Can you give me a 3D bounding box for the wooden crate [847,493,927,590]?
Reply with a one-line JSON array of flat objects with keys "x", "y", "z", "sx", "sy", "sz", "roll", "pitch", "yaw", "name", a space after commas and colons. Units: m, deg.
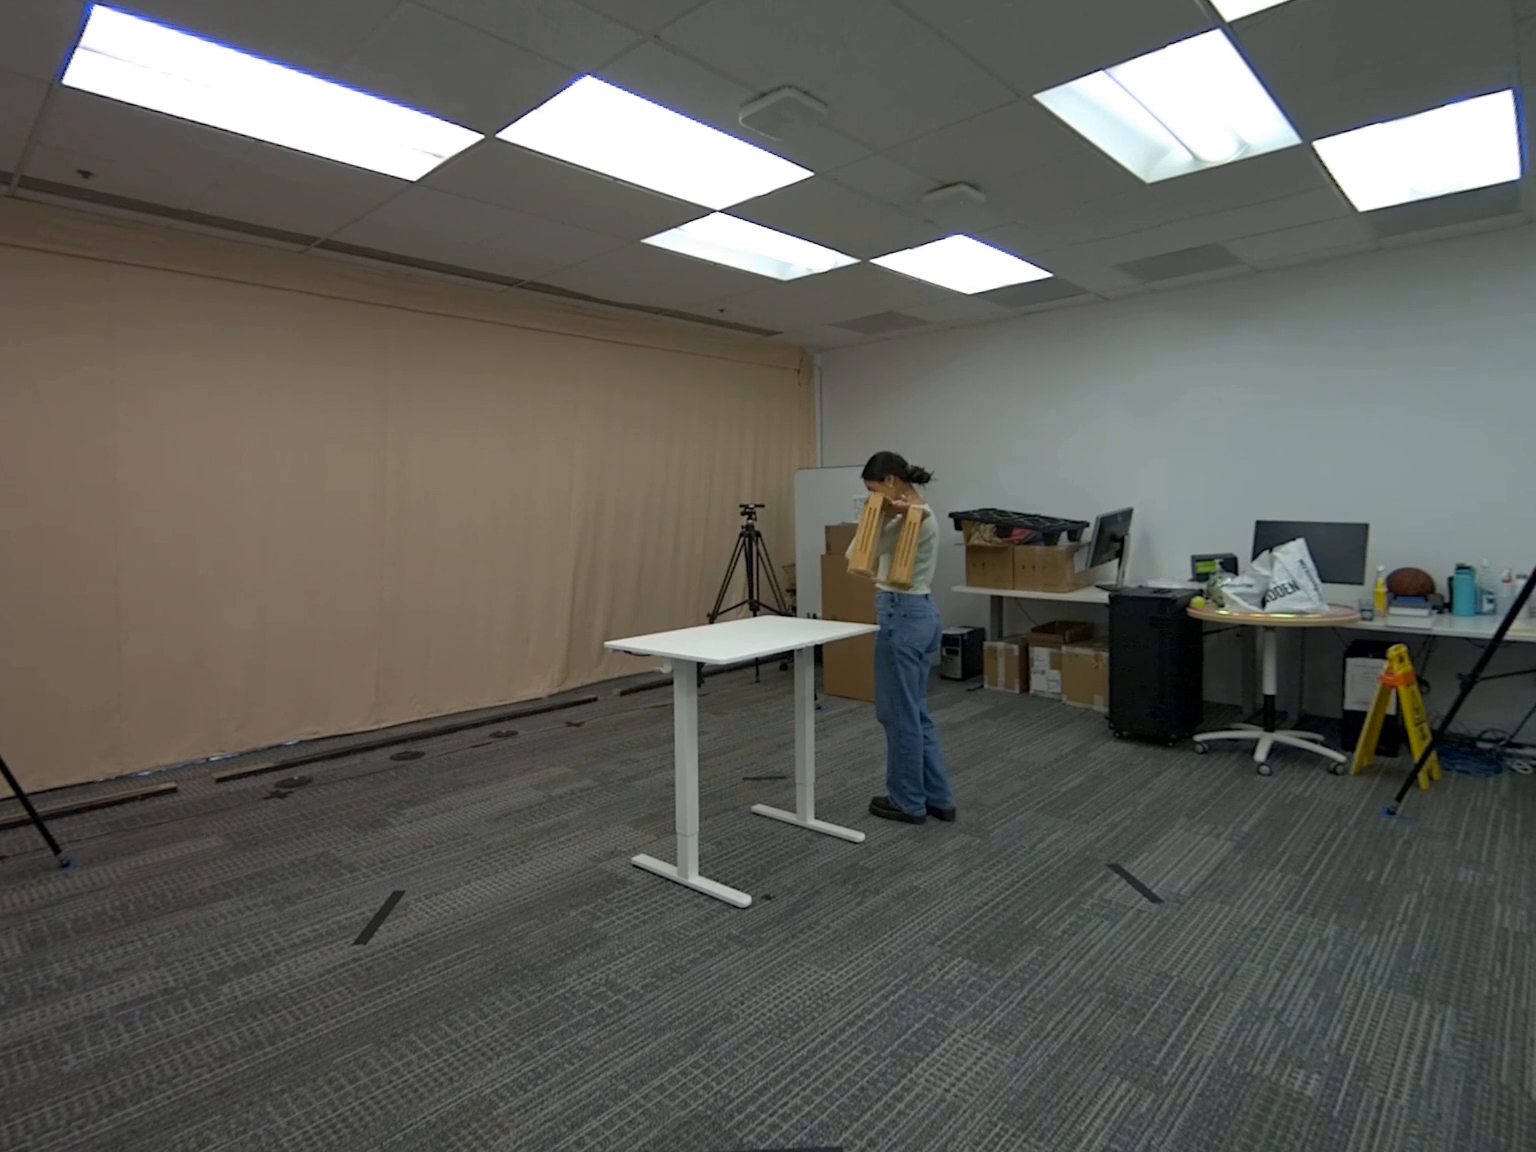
[{"x": 0.501, "y": -0.140, "z": 3.322, "sx": 0.274, "sy": 0.325, "sz": 0.301, "roll": 12, "pitch": -4, "yaw": 1, "name": "wooden crate"}]
